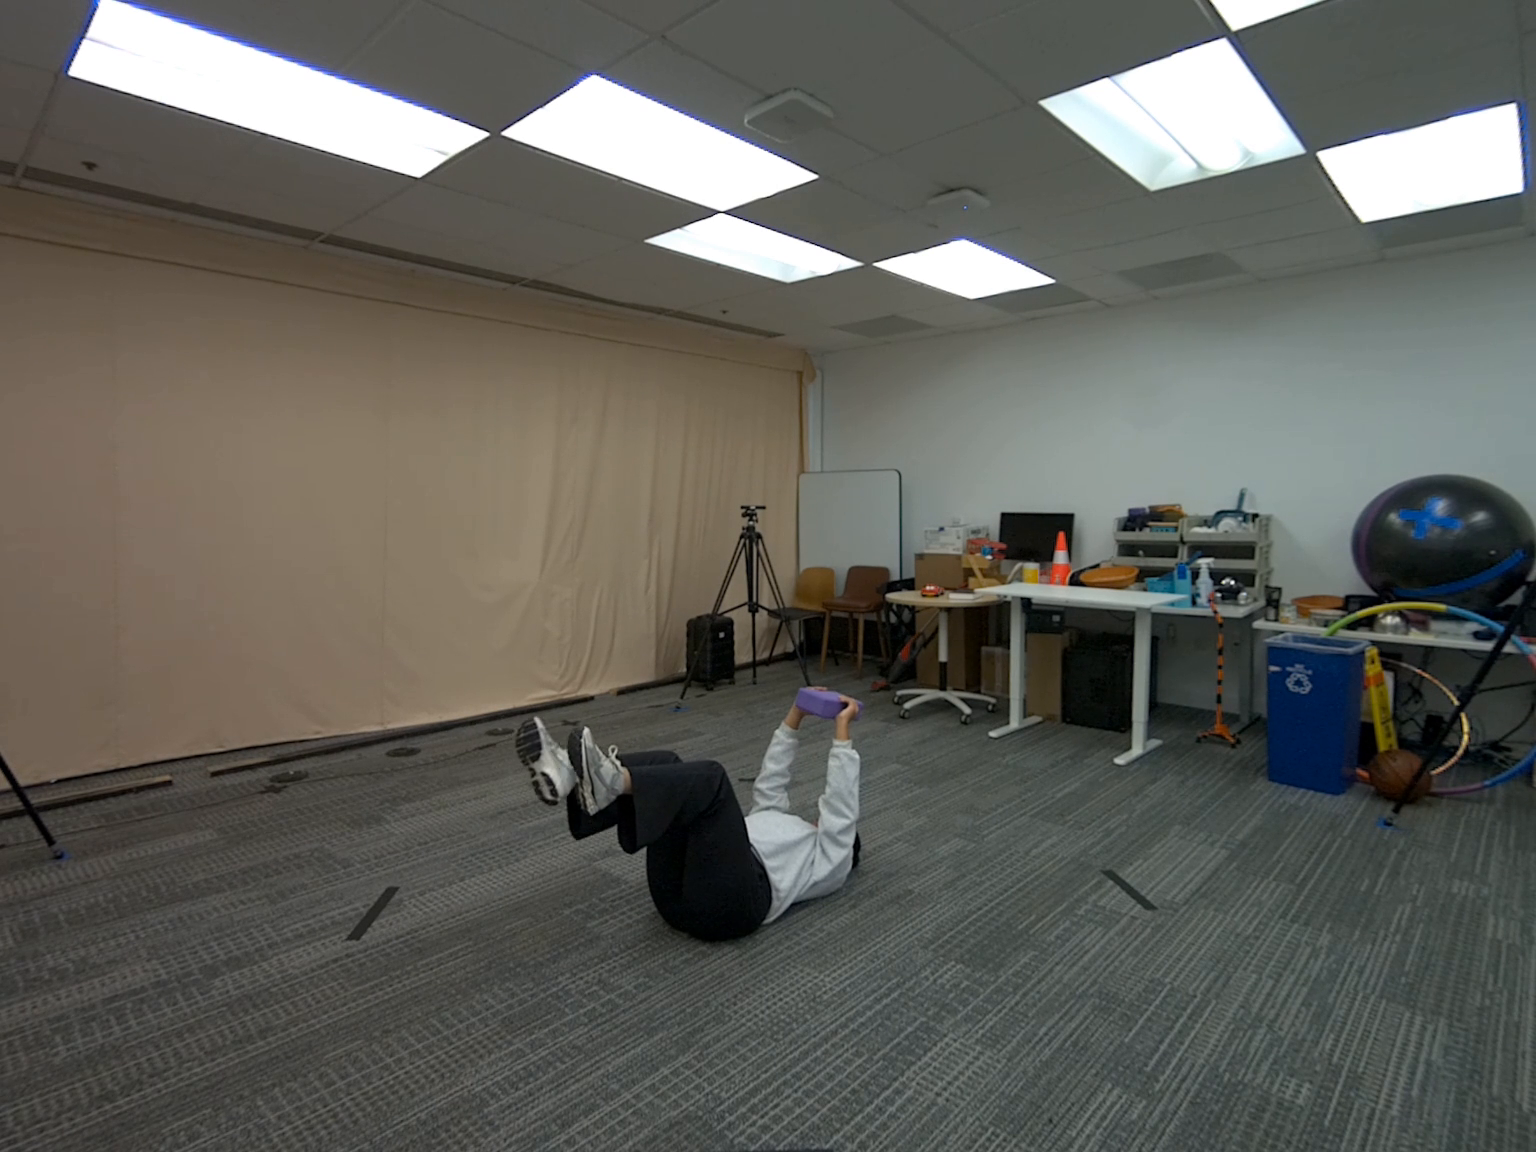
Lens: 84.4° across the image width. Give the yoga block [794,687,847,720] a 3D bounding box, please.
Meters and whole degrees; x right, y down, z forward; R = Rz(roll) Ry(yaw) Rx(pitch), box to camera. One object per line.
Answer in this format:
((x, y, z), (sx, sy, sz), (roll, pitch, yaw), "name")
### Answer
((0.247, 0.492, 3.216), (0.221, 0.076, 0.154), (12, 2, -45), "yoga block")
